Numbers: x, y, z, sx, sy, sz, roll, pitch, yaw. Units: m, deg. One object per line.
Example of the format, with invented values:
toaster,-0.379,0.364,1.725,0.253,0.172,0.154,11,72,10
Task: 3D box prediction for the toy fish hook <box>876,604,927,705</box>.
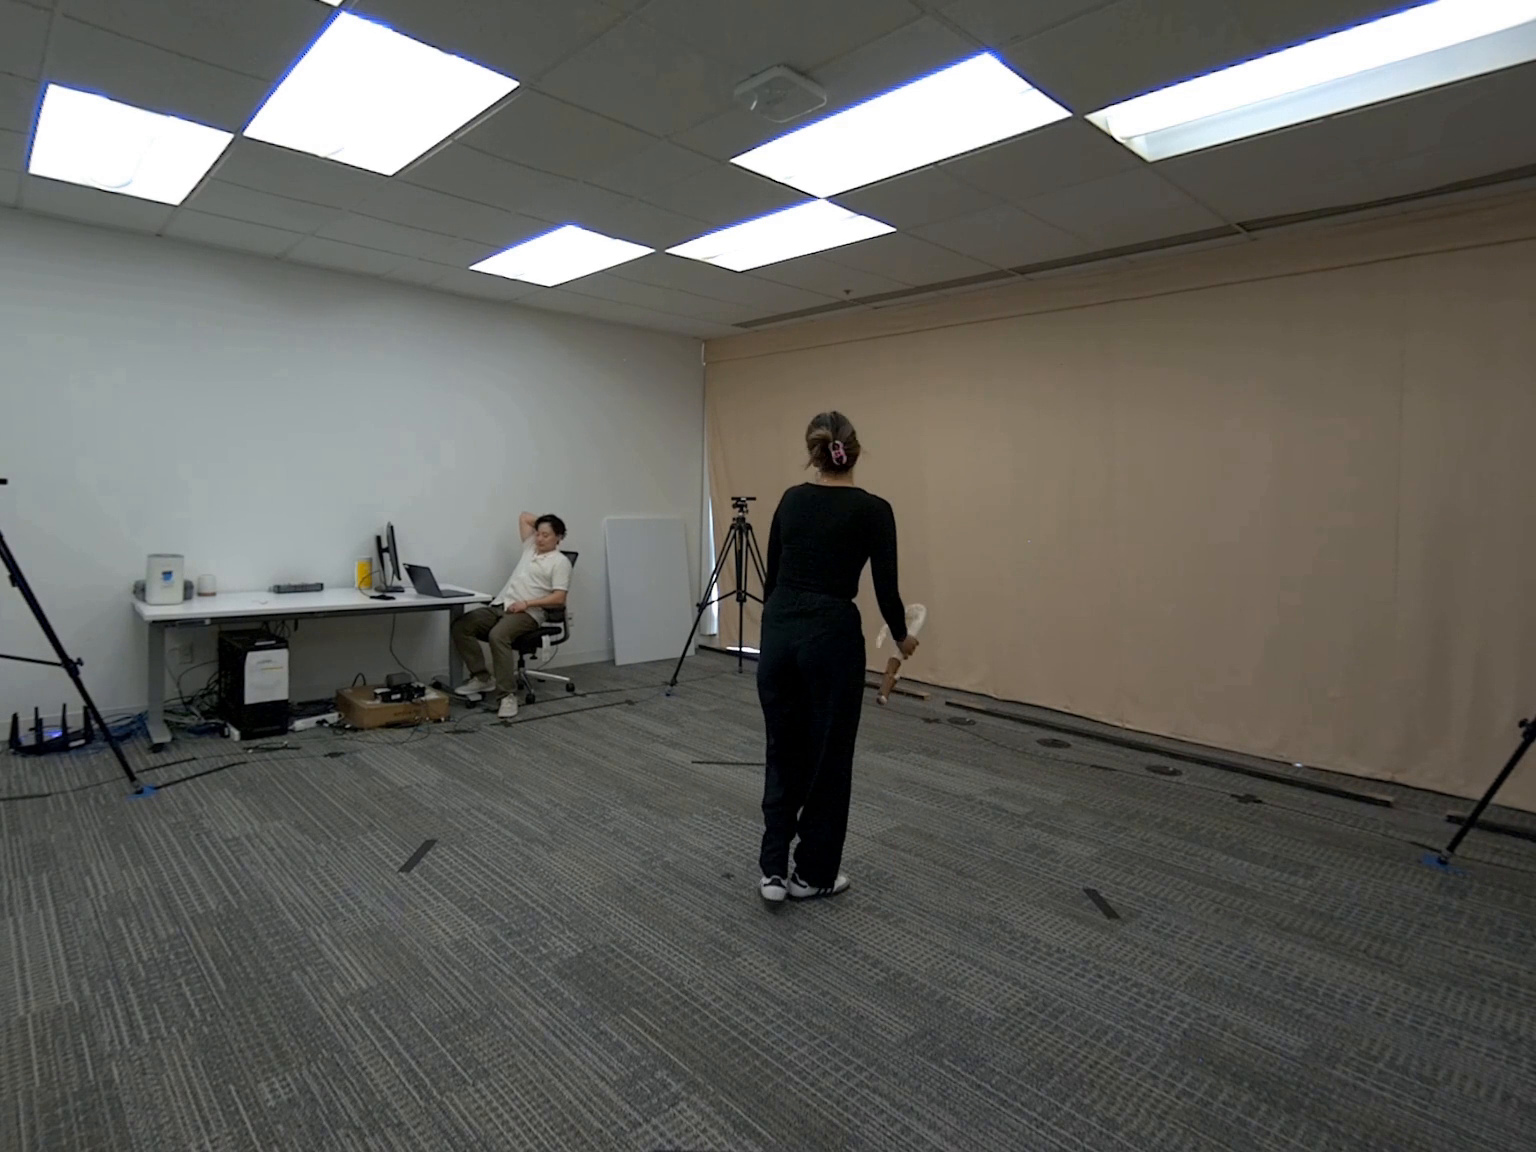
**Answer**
toy fish hook,0.449,0.301,3.111,0.226,0.048,0.509,-33,20,46
